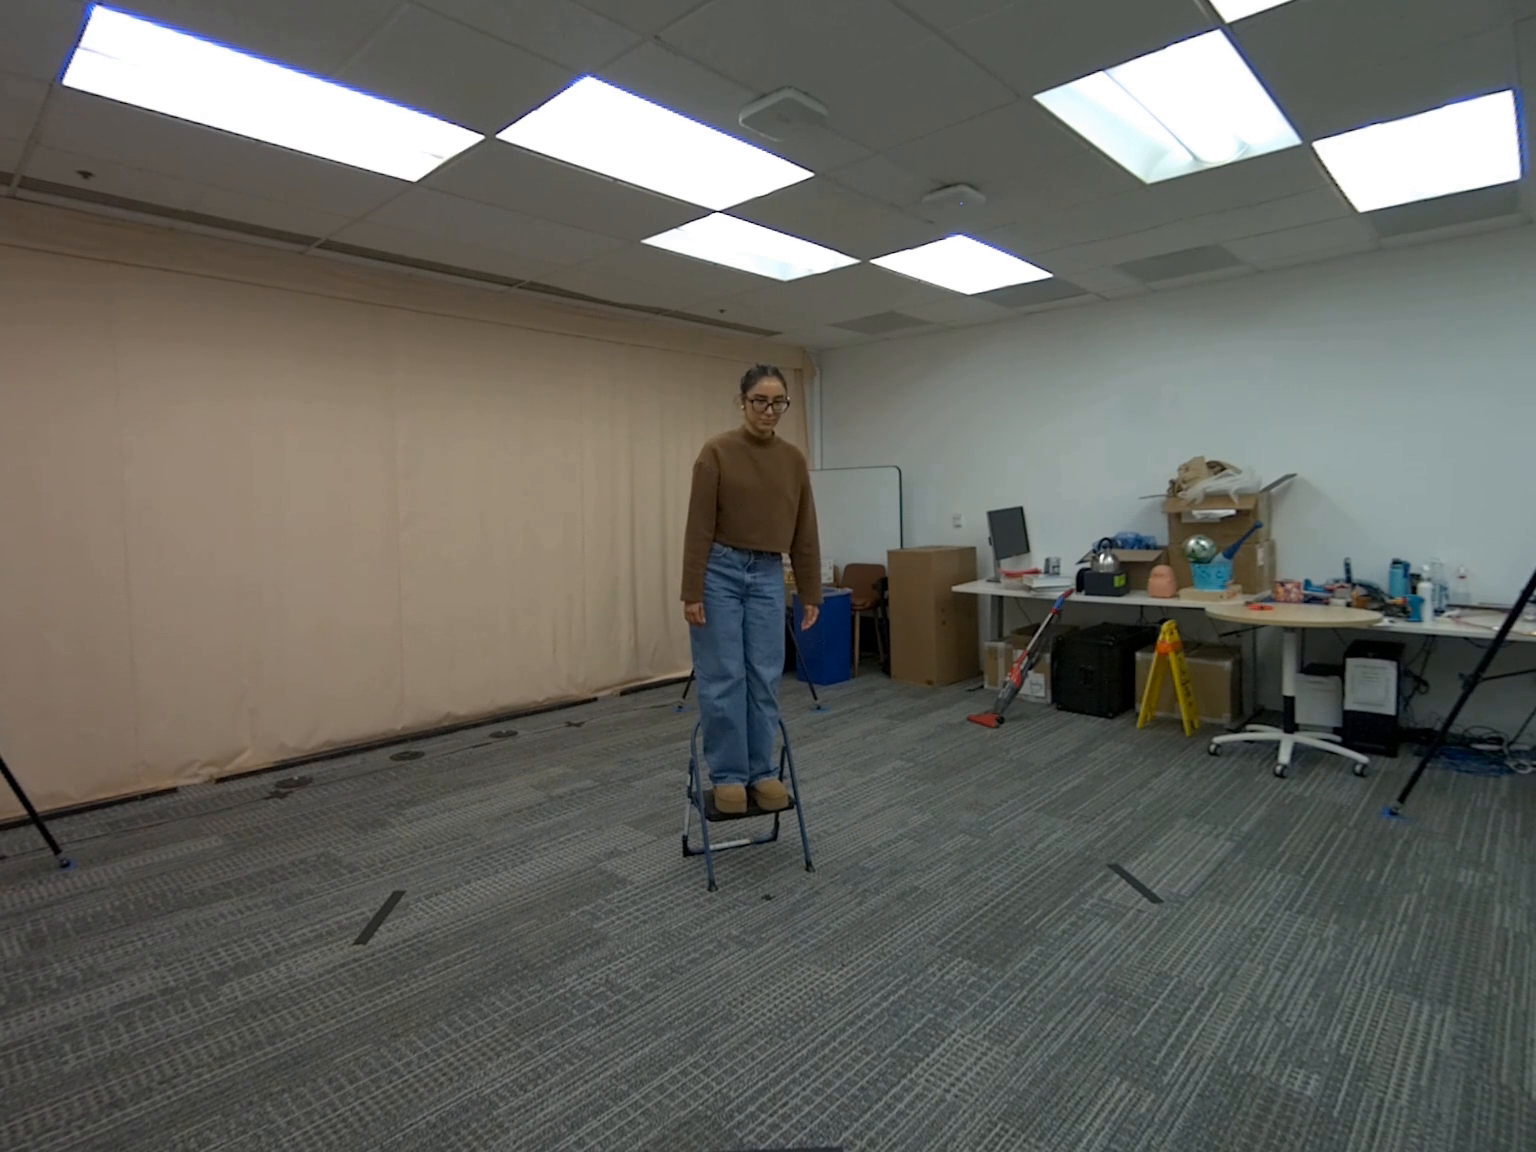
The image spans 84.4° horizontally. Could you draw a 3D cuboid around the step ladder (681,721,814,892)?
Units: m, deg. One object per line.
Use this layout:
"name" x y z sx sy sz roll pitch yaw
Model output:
"step ladder" -0.088 0.819 3.262 0.421 0.605 0.358 -2 4 -23
